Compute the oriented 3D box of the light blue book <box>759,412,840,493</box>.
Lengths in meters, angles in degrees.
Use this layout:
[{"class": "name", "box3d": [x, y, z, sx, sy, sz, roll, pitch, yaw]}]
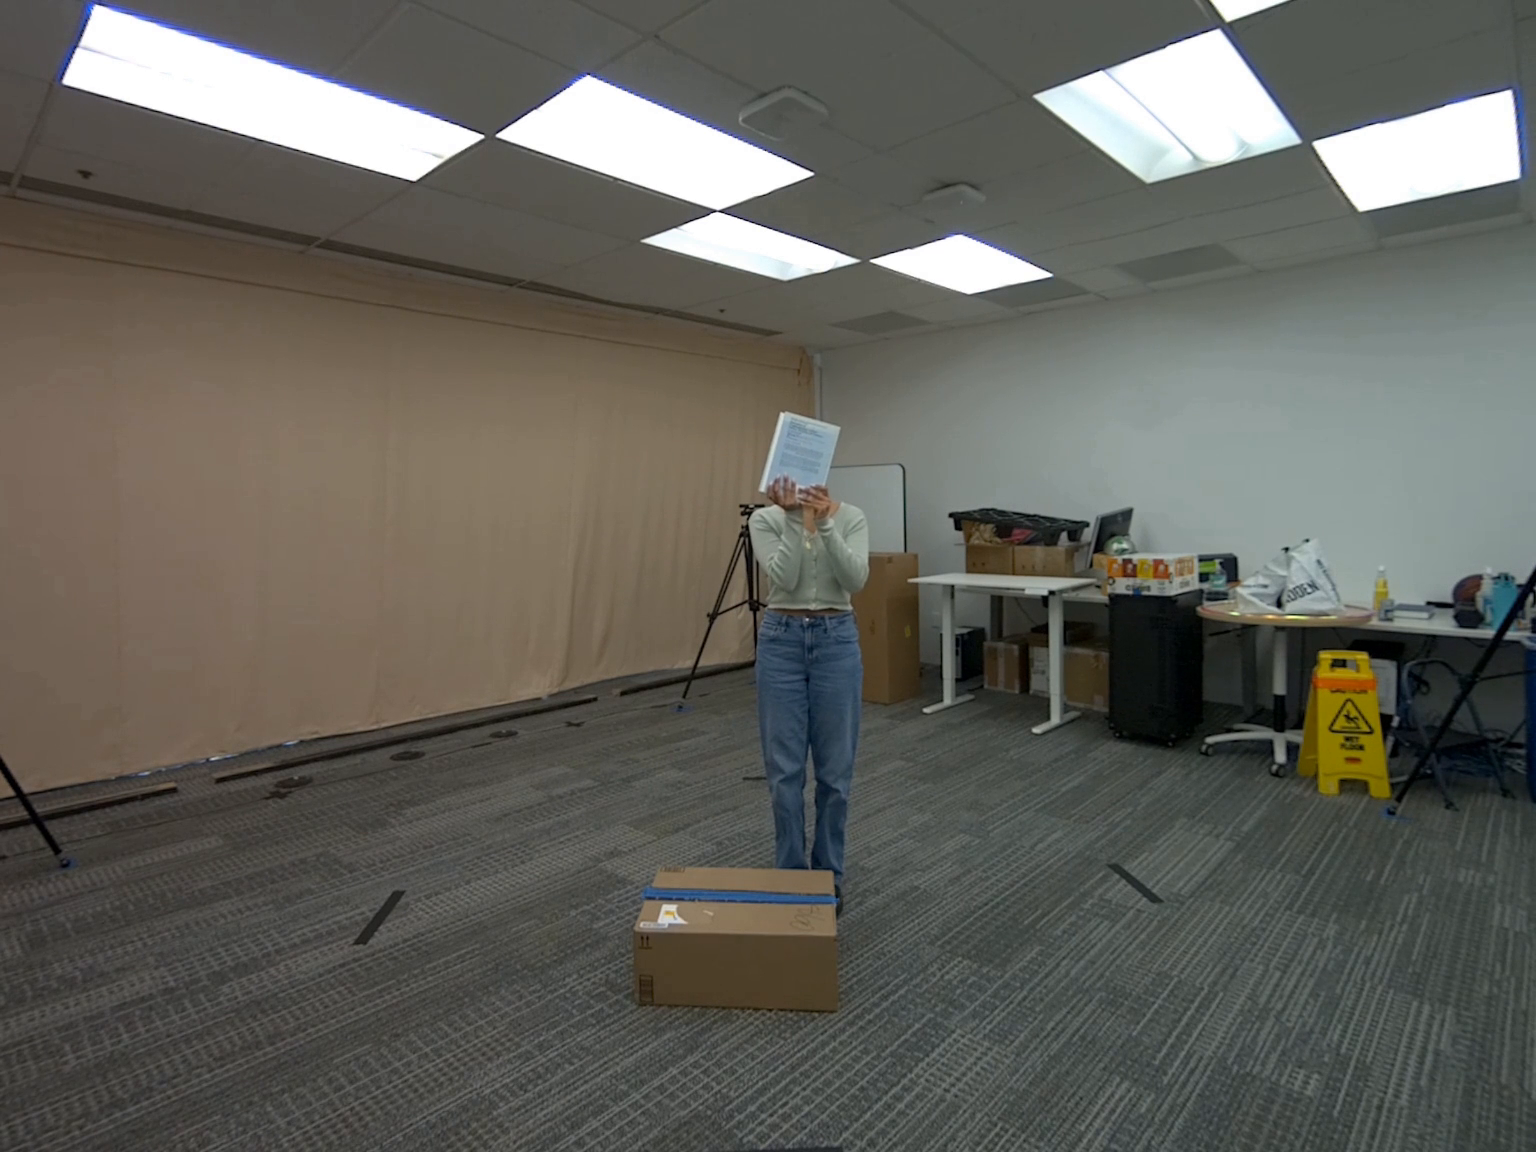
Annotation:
[{"class": "light blue book", "box3d": [0.097, -0.368, 2.670, 0.190, 0.261, 0.059, 15, 2, -7]}]
